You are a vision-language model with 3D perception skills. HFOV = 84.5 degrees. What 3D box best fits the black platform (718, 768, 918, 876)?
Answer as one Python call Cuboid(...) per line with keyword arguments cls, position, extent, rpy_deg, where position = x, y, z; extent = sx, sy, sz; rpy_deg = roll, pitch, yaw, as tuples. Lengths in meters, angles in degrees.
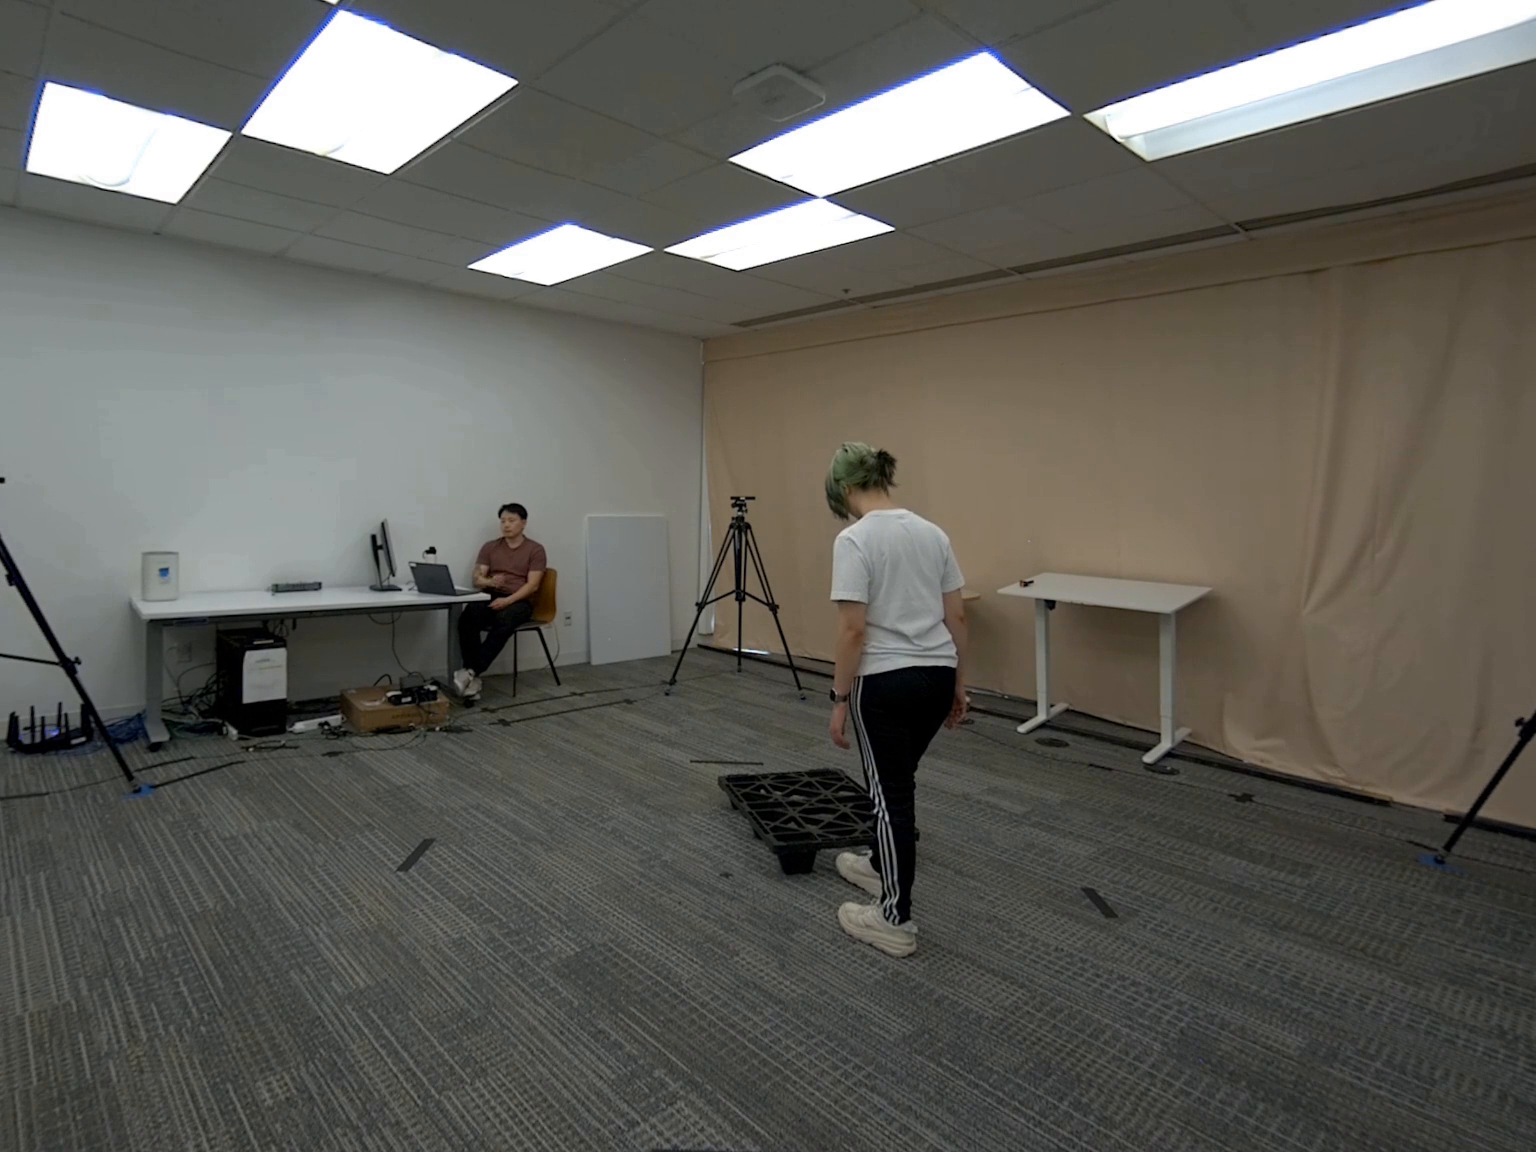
Cuboid(cls="black platform", position=(0.168, 1.008, 3.524), extent=(0.597, 0.143, 0.818), rpy_deg=(1, 5, -17))
